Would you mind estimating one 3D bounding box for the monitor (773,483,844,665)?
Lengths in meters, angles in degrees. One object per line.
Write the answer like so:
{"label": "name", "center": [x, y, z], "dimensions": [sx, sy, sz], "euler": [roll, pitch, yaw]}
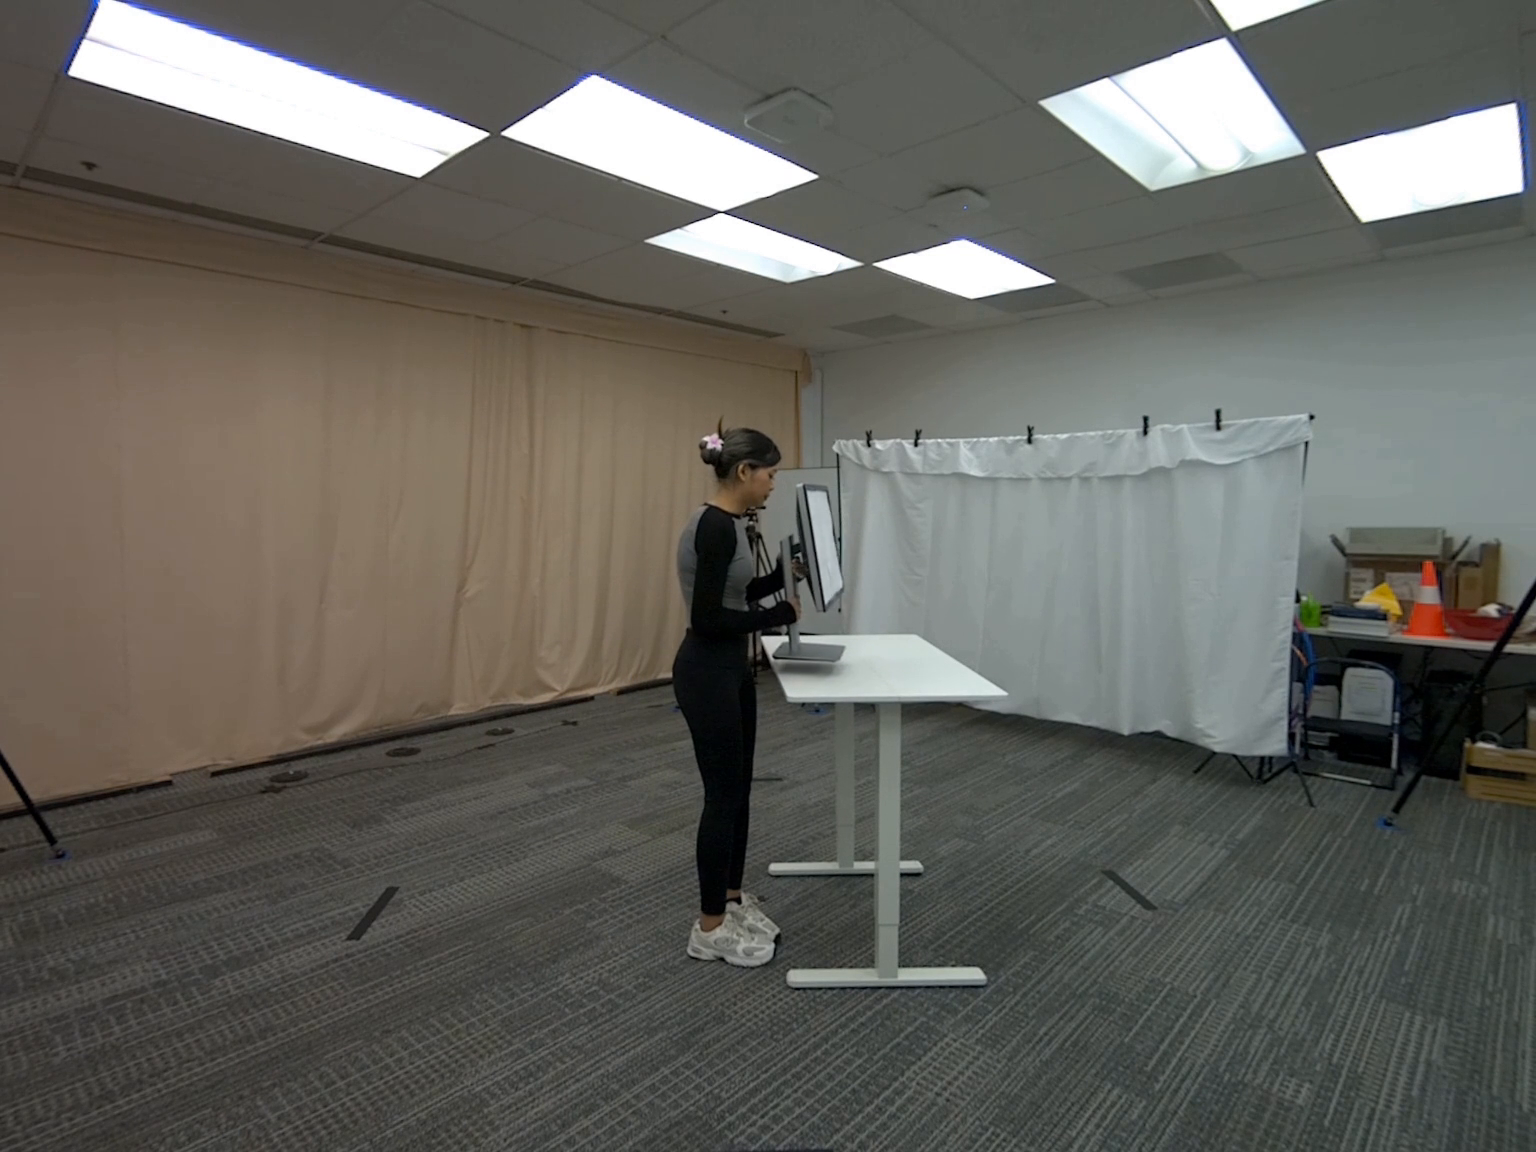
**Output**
{"label": "monitor", "center": [0.136, -0.009, 2.614], "dimensions": [0.189, 0.521, 0.534], "euler": [3, 6, 9]}
